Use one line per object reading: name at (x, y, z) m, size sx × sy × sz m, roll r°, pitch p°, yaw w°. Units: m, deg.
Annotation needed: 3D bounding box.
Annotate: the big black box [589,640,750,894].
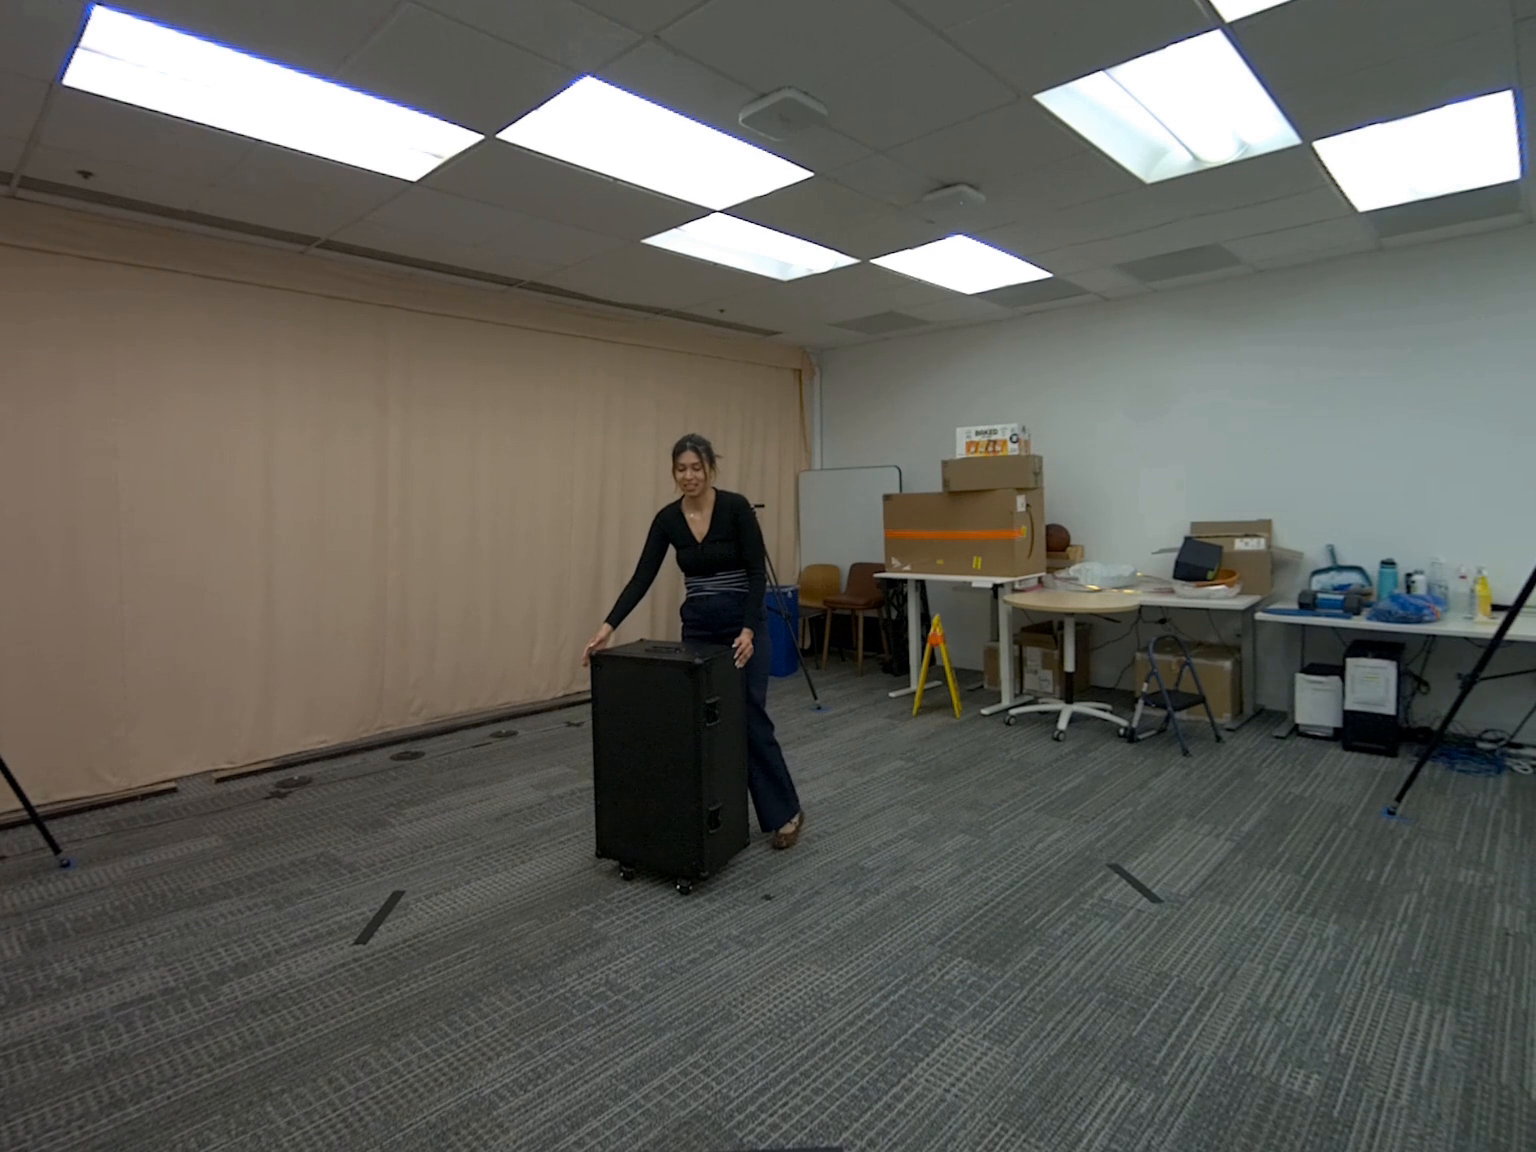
big black box at (-0.373, 0.703, 3.225) m, size 0.536 × 0.860 × 0.386 m, roll 0°, pitch 2°, yaw 29°
